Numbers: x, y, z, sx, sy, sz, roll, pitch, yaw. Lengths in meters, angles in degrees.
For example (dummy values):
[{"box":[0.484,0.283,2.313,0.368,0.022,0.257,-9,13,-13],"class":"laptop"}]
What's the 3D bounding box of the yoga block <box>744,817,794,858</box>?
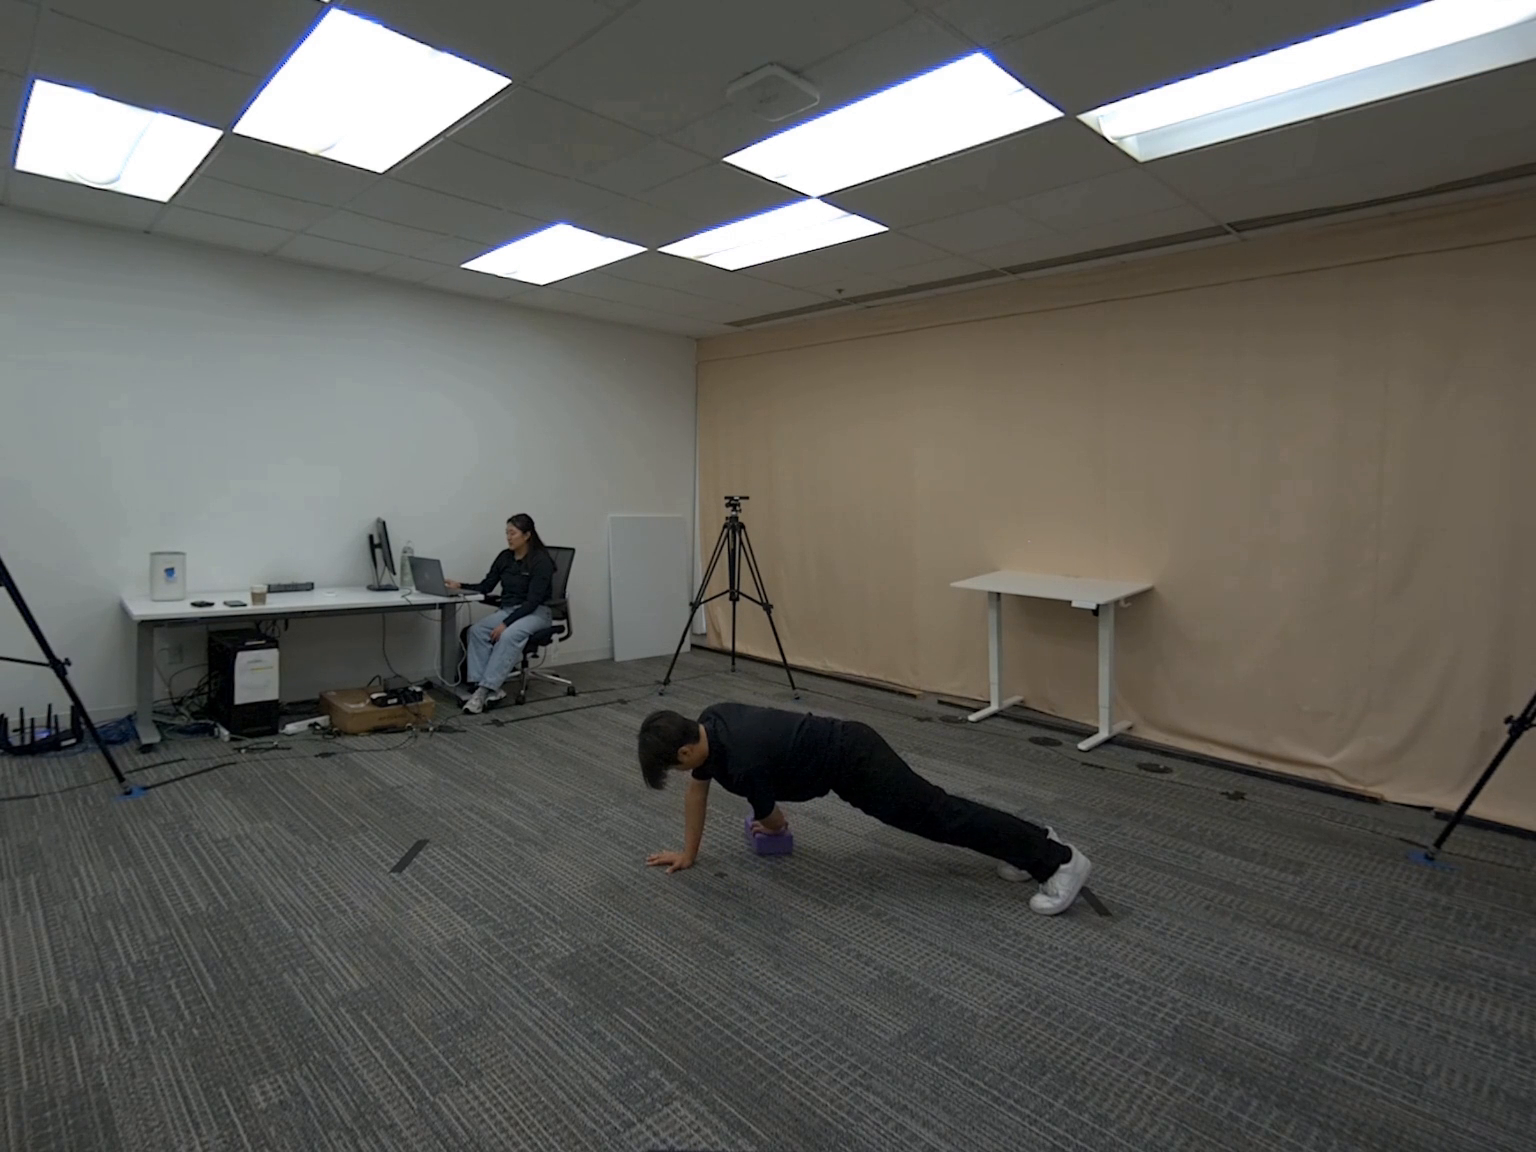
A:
[{"box":[-0.004,1.040,3.400,0.148,0.076,0.232,-1,6,-10],"class":"yoga block"}]
